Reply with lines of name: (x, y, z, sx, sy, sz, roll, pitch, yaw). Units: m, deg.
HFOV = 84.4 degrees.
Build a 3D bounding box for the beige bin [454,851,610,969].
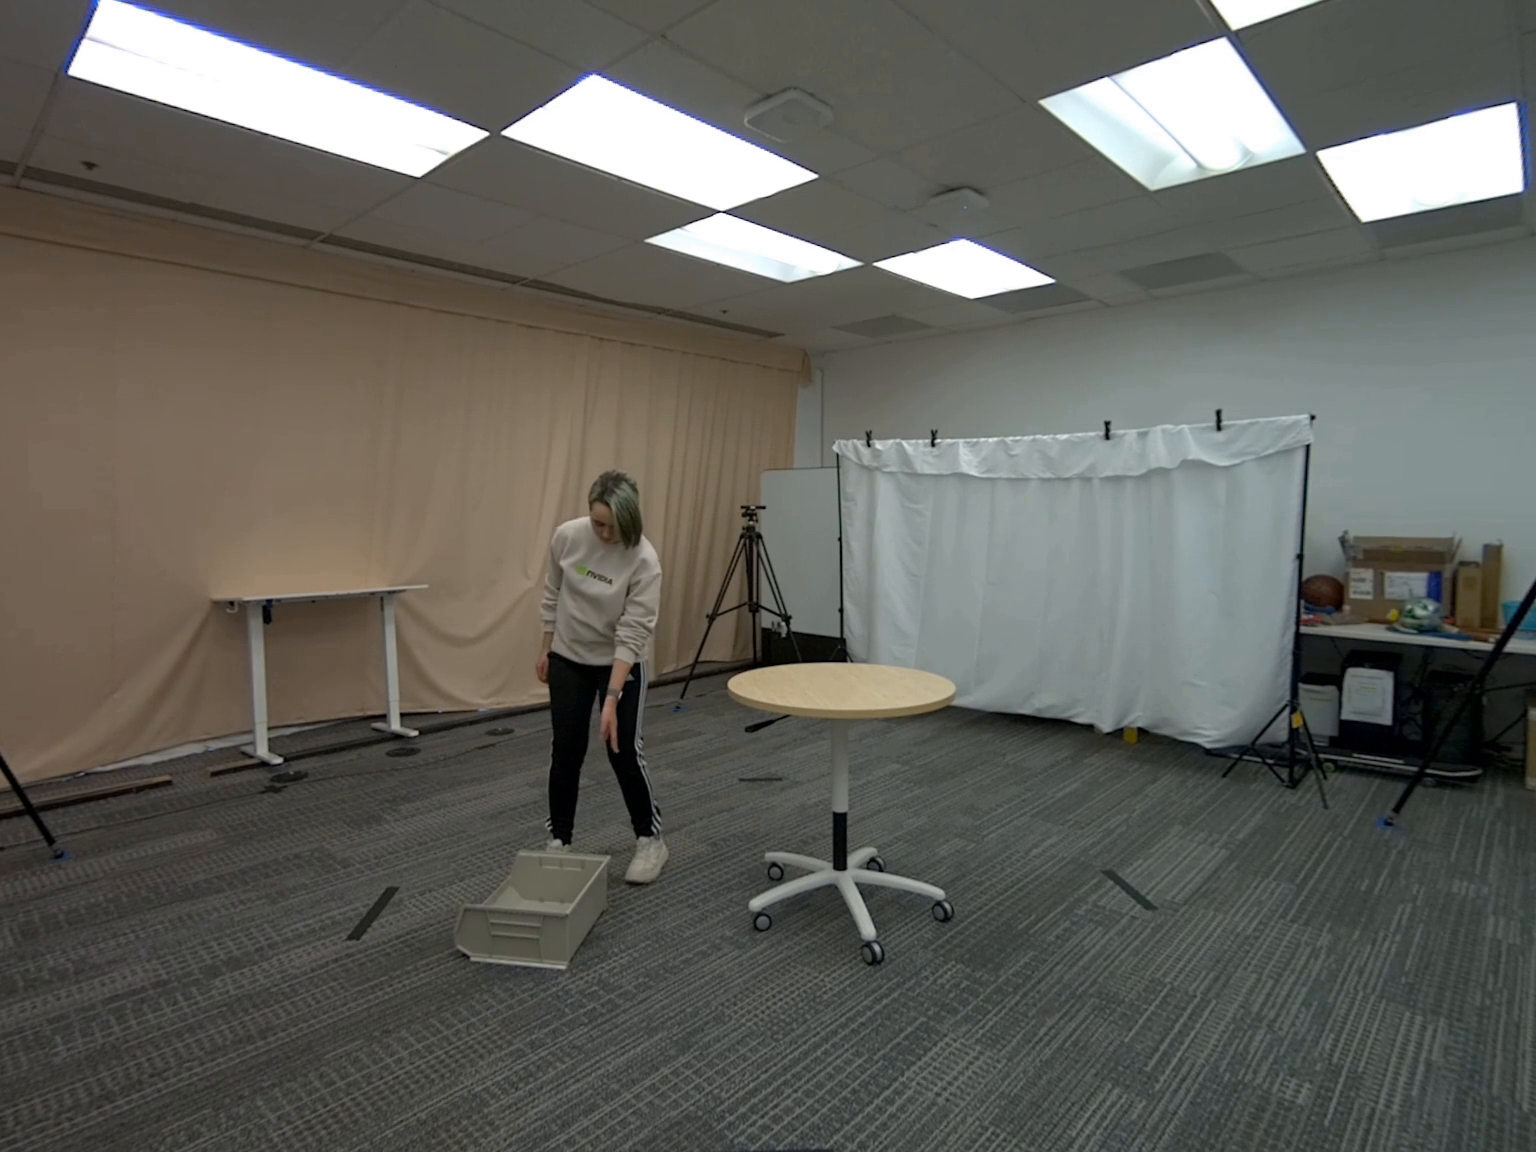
beige bin: (-0.757, 1.085, 2.745, 0.381, 0.188, 0.419, 1, 4, 8)
